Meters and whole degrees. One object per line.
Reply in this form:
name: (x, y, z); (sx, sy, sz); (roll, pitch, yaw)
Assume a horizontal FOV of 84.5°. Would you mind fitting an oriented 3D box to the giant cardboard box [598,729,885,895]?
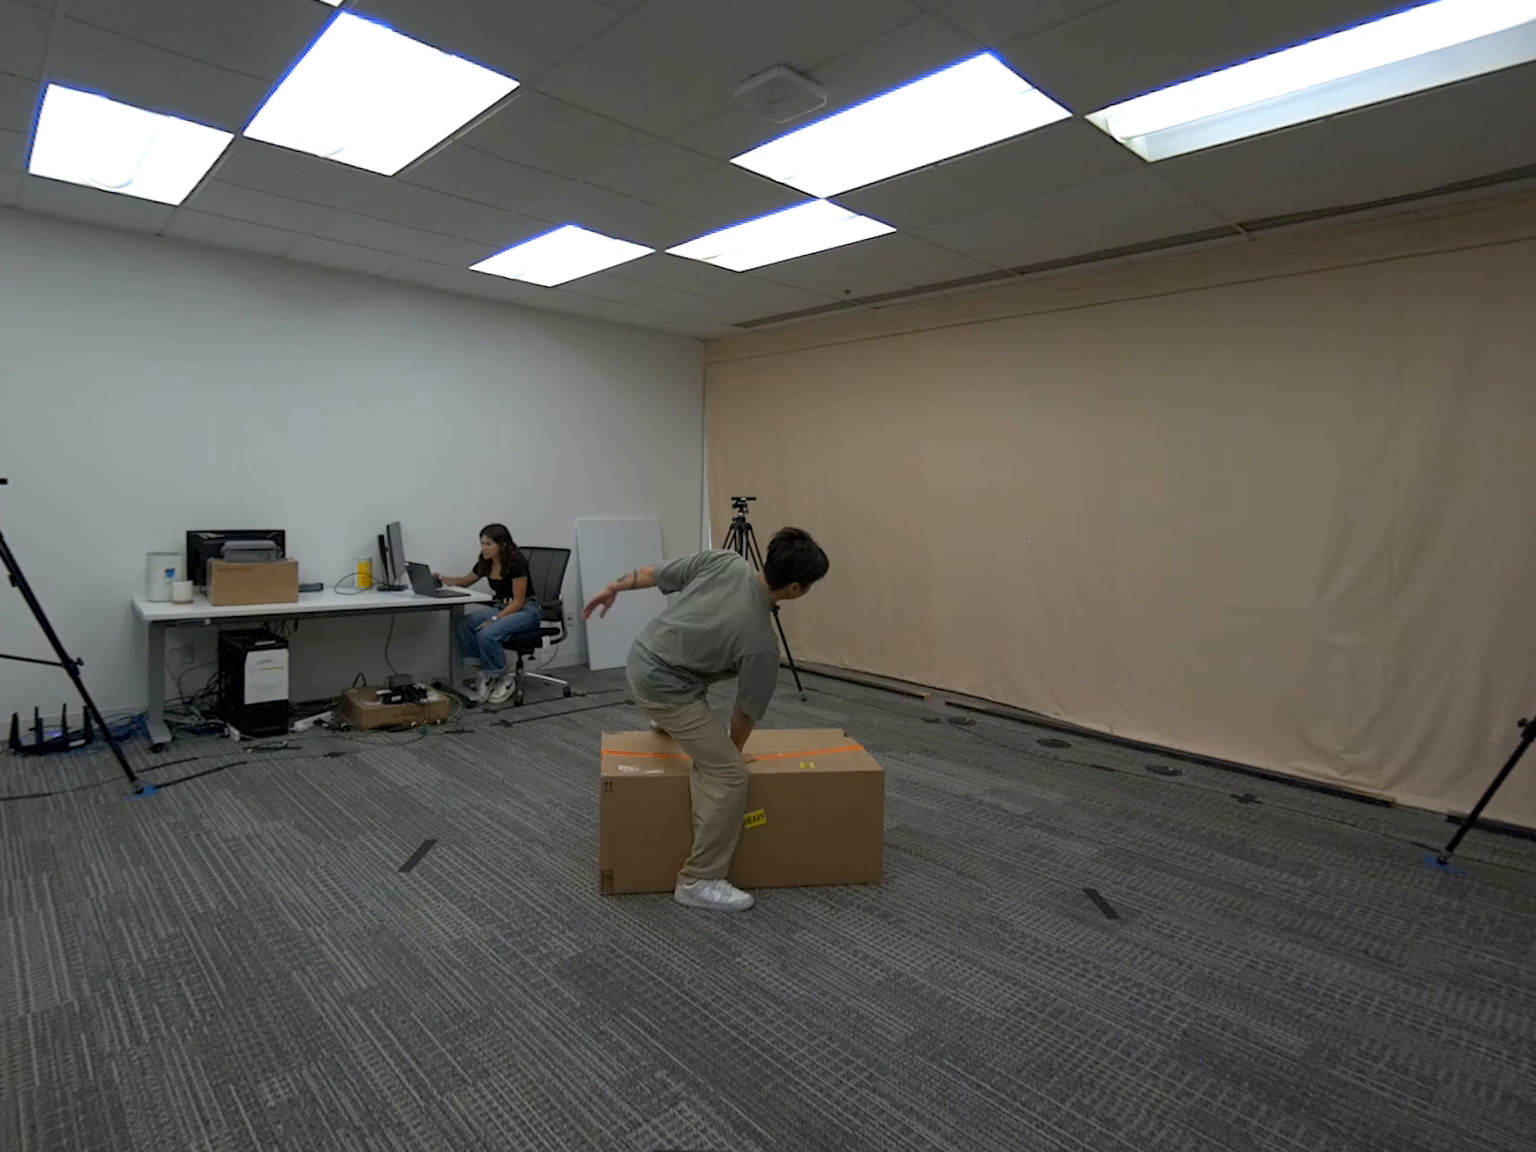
giant cardboard box: (-0.142, 0.882, 3.270); (1.019, 0.425, 0.583); (1, 5, -9)
